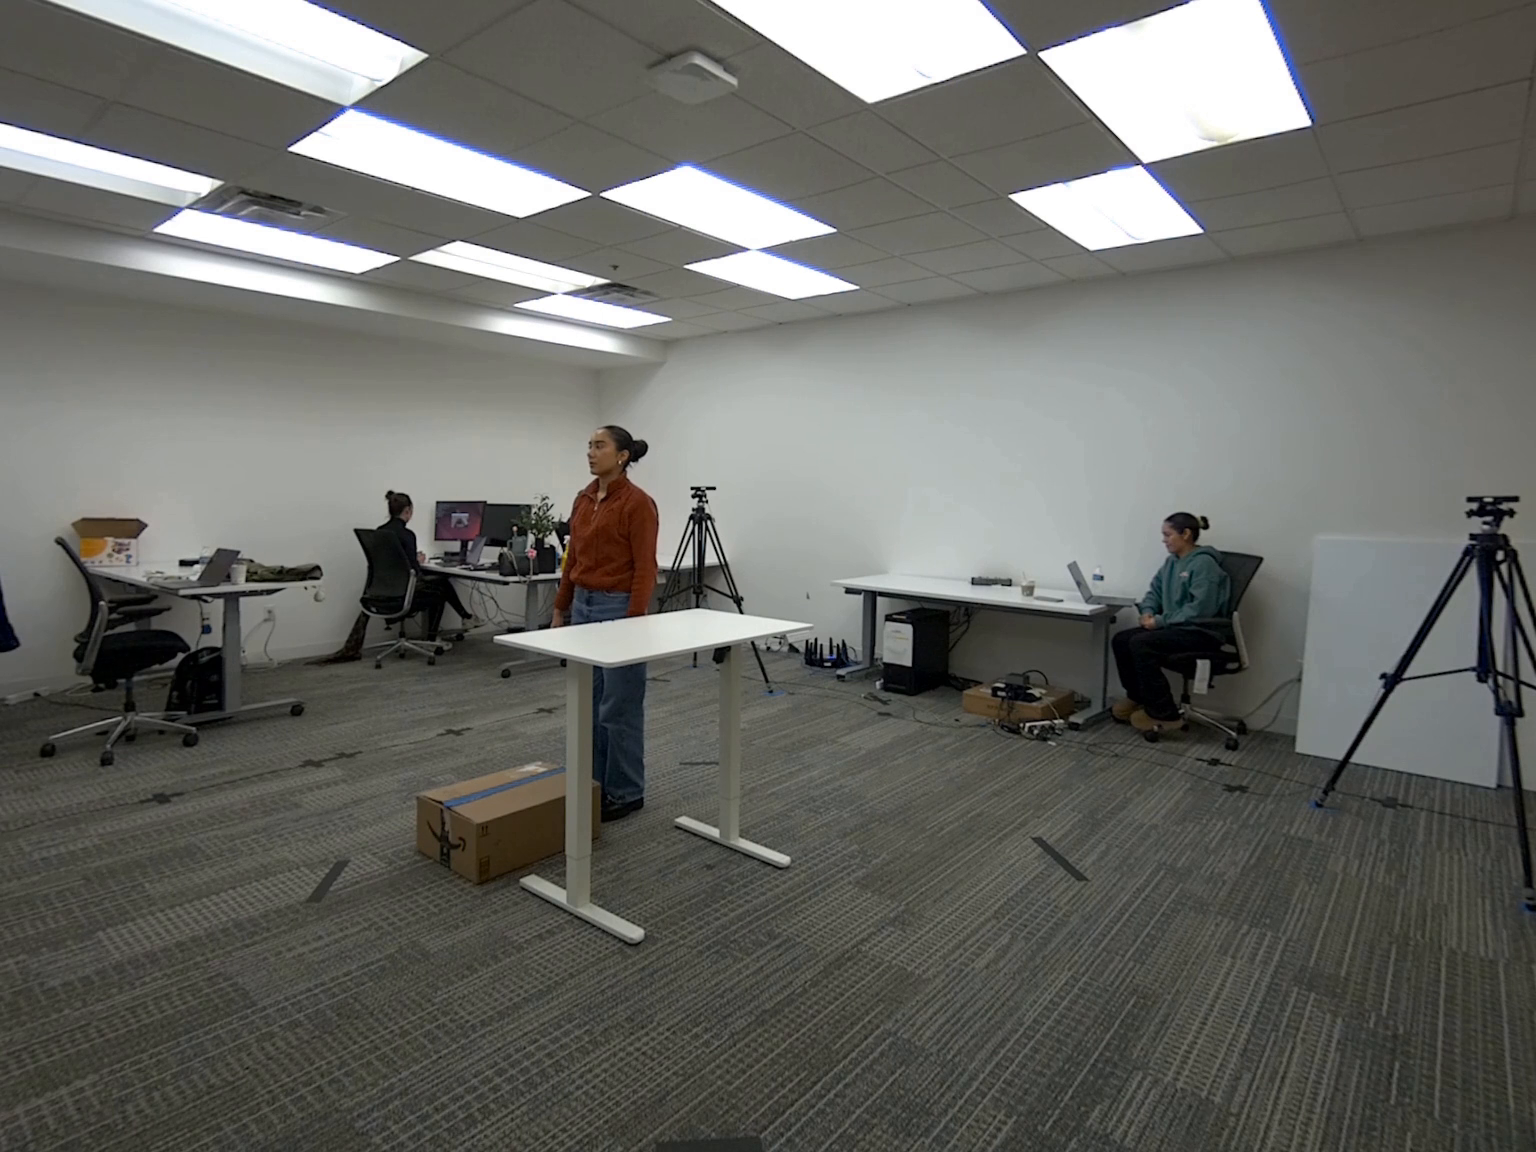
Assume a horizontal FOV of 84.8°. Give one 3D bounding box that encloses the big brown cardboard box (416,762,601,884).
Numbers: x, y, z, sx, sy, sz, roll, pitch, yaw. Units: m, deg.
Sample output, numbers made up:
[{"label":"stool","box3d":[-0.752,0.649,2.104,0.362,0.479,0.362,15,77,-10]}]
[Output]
[{"label":"big brown cardboard box","box3d":[-1.006,0.925,3.285,0.431,0.232,0.572,4,7,39]}]
